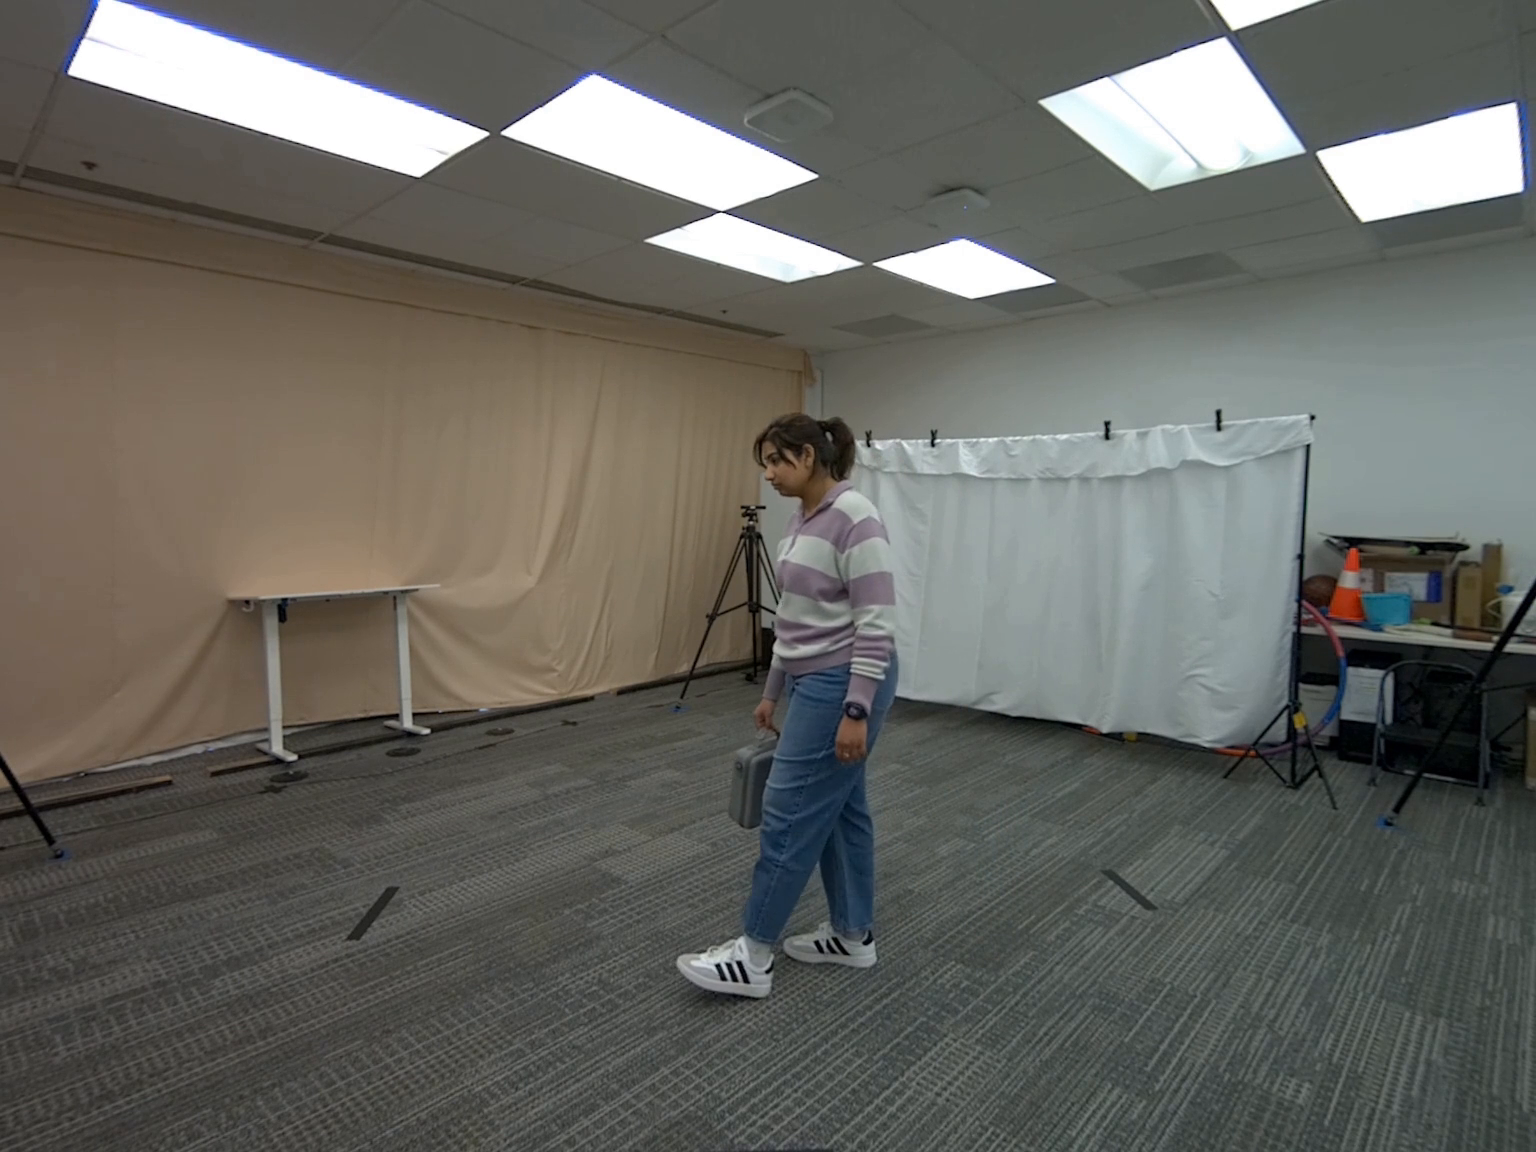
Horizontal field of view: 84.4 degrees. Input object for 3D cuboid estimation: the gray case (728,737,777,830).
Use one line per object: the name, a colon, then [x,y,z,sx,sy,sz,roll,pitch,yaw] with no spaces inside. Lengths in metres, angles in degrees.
gray case: [0.002,0.659,2.733,0.249,0.259,0.108,-6,14,-42]
